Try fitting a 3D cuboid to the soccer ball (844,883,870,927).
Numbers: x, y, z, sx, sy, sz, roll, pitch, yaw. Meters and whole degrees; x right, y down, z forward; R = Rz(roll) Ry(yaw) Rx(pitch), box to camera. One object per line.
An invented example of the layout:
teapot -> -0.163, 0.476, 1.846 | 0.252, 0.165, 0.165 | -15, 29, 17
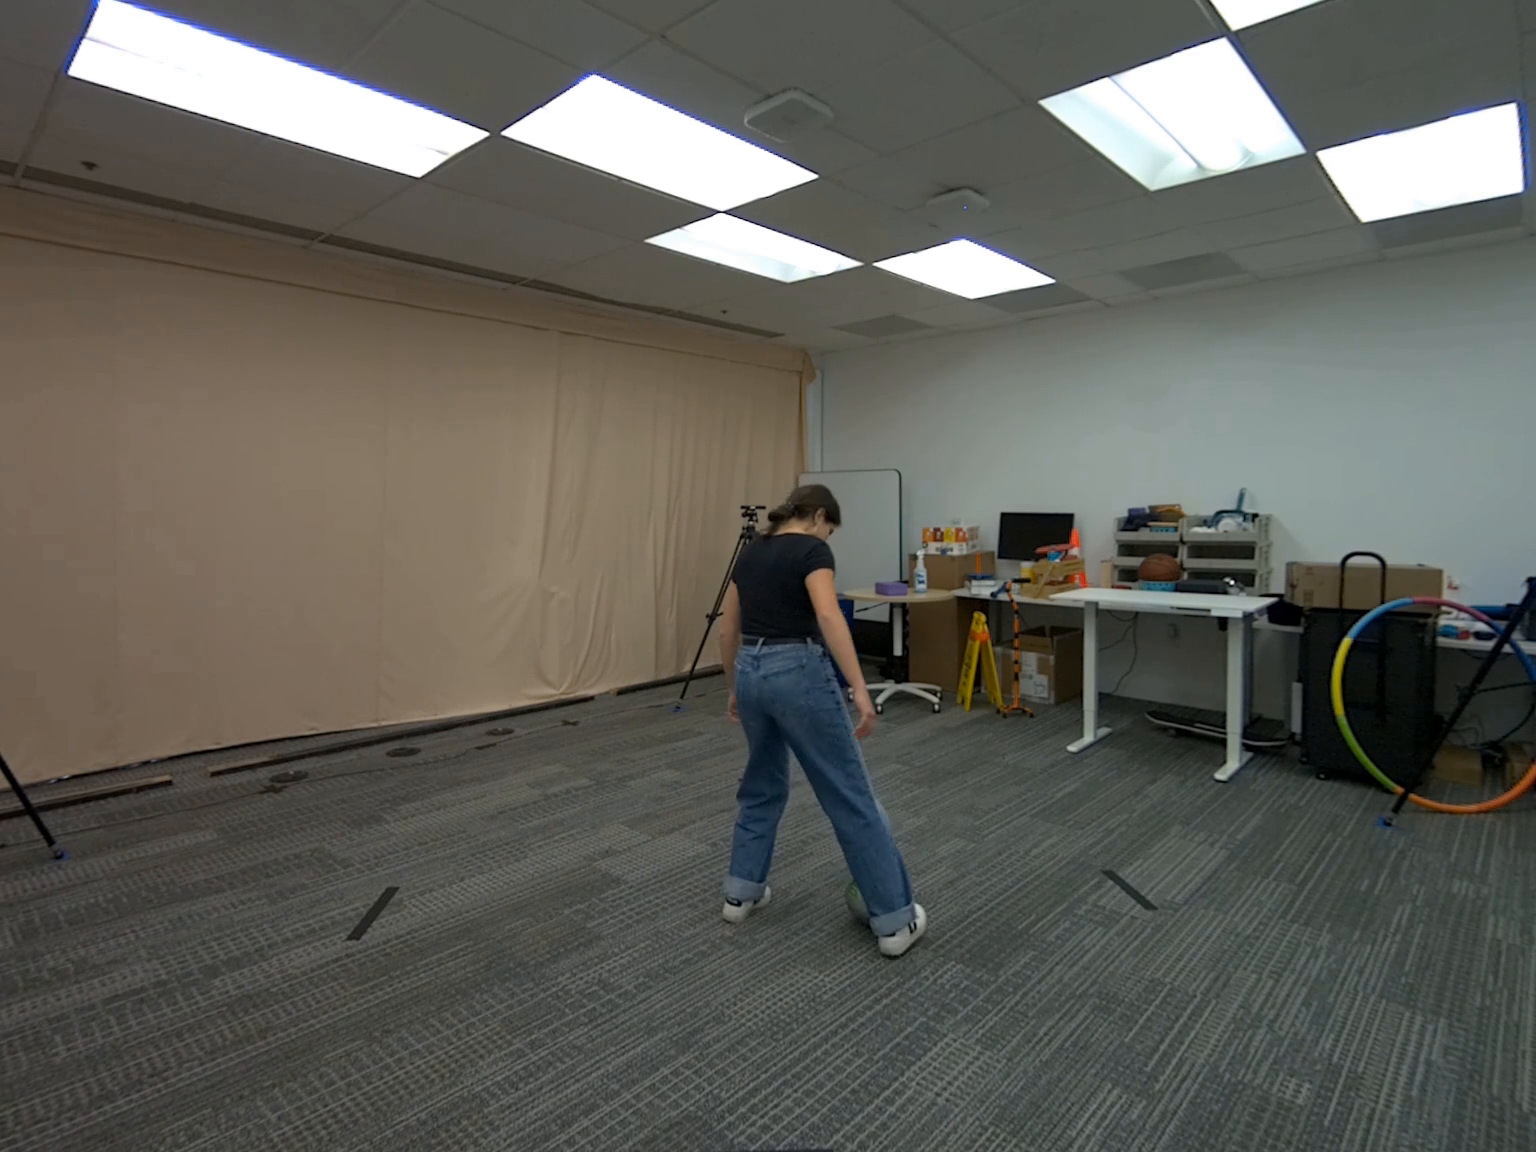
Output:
soccer ball -> 0.365, 1.069, 2.805 | 0.187, 0.187, 0.188 | 0, 4, -2
